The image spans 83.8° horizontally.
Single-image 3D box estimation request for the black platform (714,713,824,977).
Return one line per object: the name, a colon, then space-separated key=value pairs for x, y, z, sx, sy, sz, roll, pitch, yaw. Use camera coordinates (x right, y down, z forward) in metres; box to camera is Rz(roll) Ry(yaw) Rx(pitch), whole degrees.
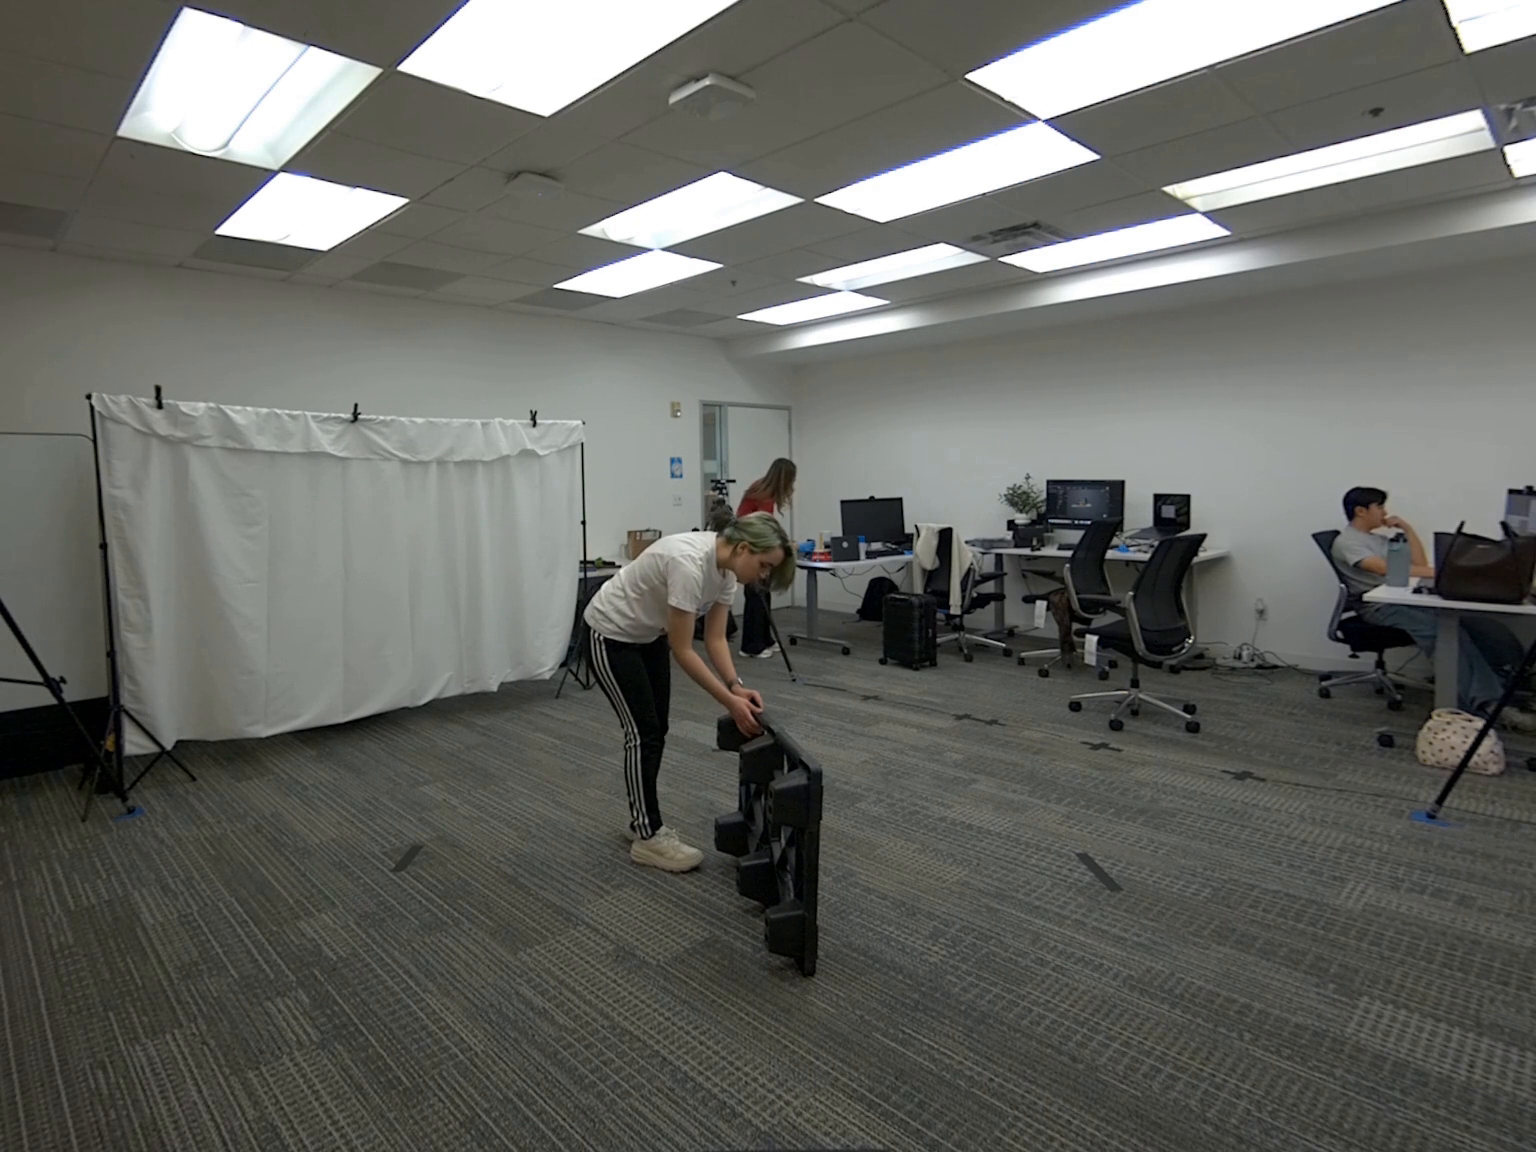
black platform: x=-0.022 y=0.783 z=2.750 sx=0.141 sy=0.603 sz=0.820 roll=0 pitch=5 yaw=-16
